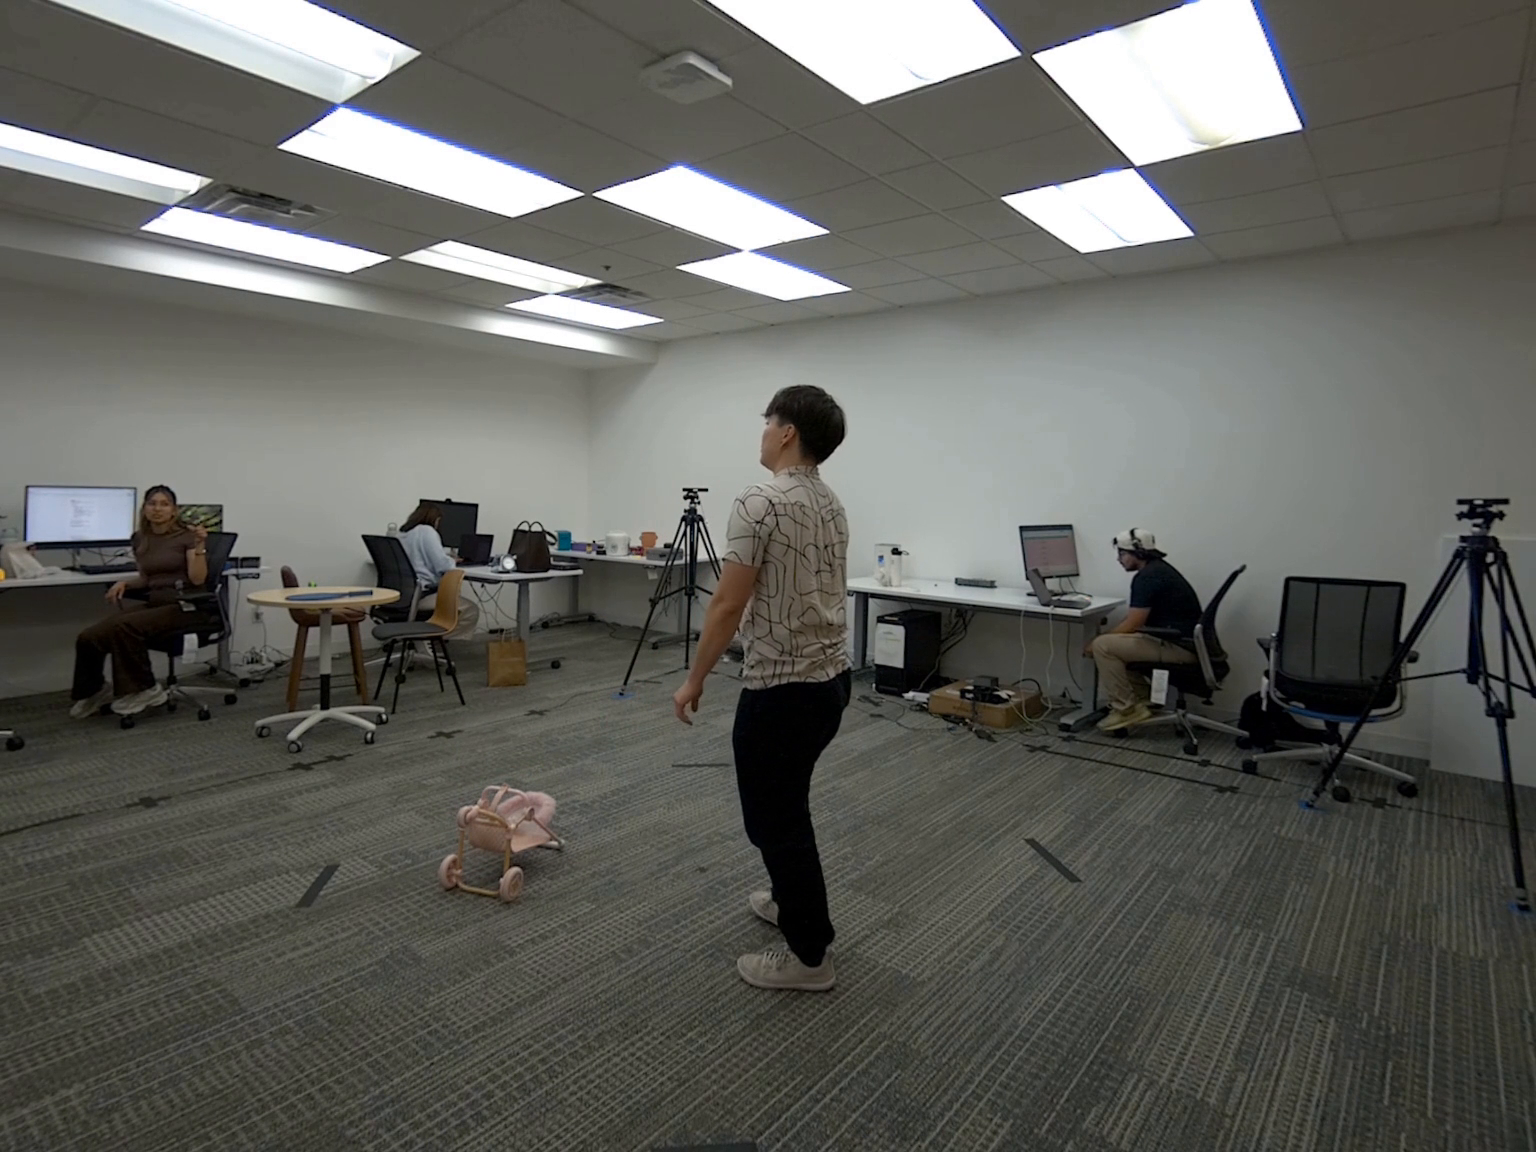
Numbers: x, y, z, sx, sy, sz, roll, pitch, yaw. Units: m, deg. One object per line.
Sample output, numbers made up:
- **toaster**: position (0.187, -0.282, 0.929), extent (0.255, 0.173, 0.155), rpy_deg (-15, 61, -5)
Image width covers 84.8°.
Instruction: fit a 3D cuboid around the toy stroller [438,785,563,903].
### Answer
- **toy stroller**: position (-0.950, 0.905, 3.026), extent (0.287, 0.340, 0.526), rpy_deg (-2, 5, 19)
